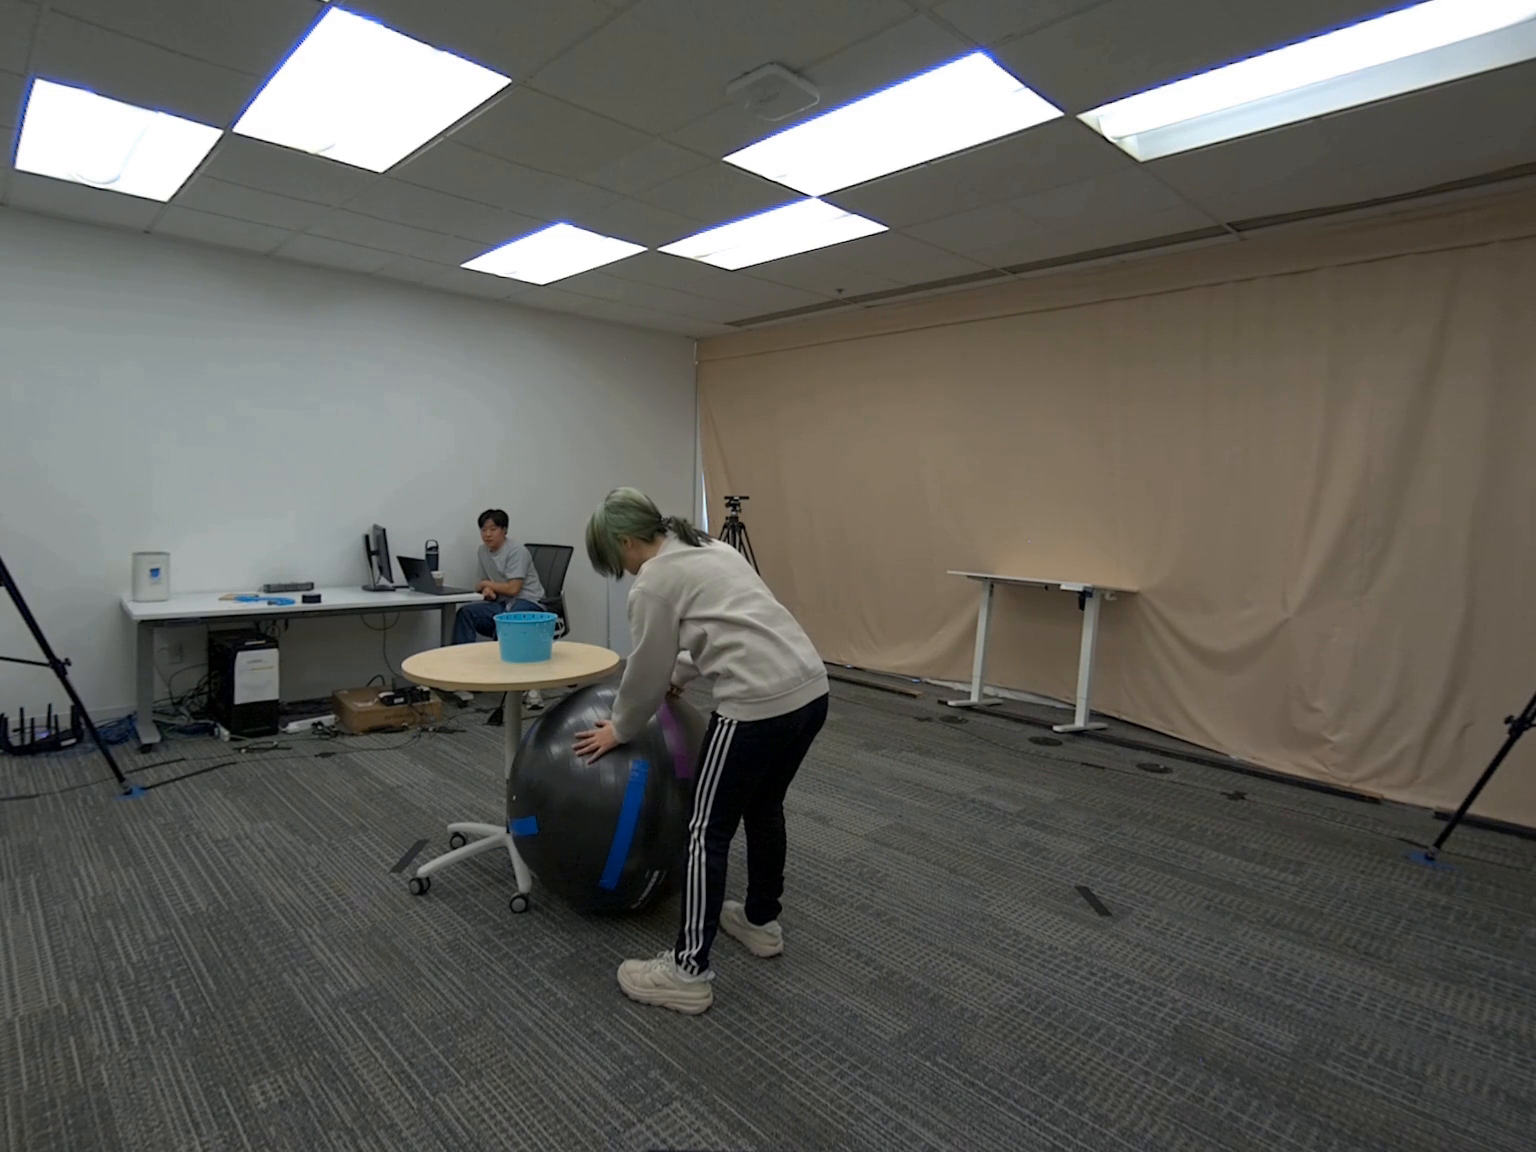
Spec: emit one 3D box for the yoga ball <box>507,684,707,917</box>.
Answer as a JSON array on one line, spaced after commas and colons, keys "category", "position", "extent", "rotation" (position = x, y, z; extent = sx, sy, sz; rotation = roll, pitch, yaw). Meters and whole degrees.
[{"category": "yoga ball", "position": [-0.503, 0.745, 2.872], "extent": [0.757, 0.756, 0.761], "rotation": [1, 4, -1]}]
